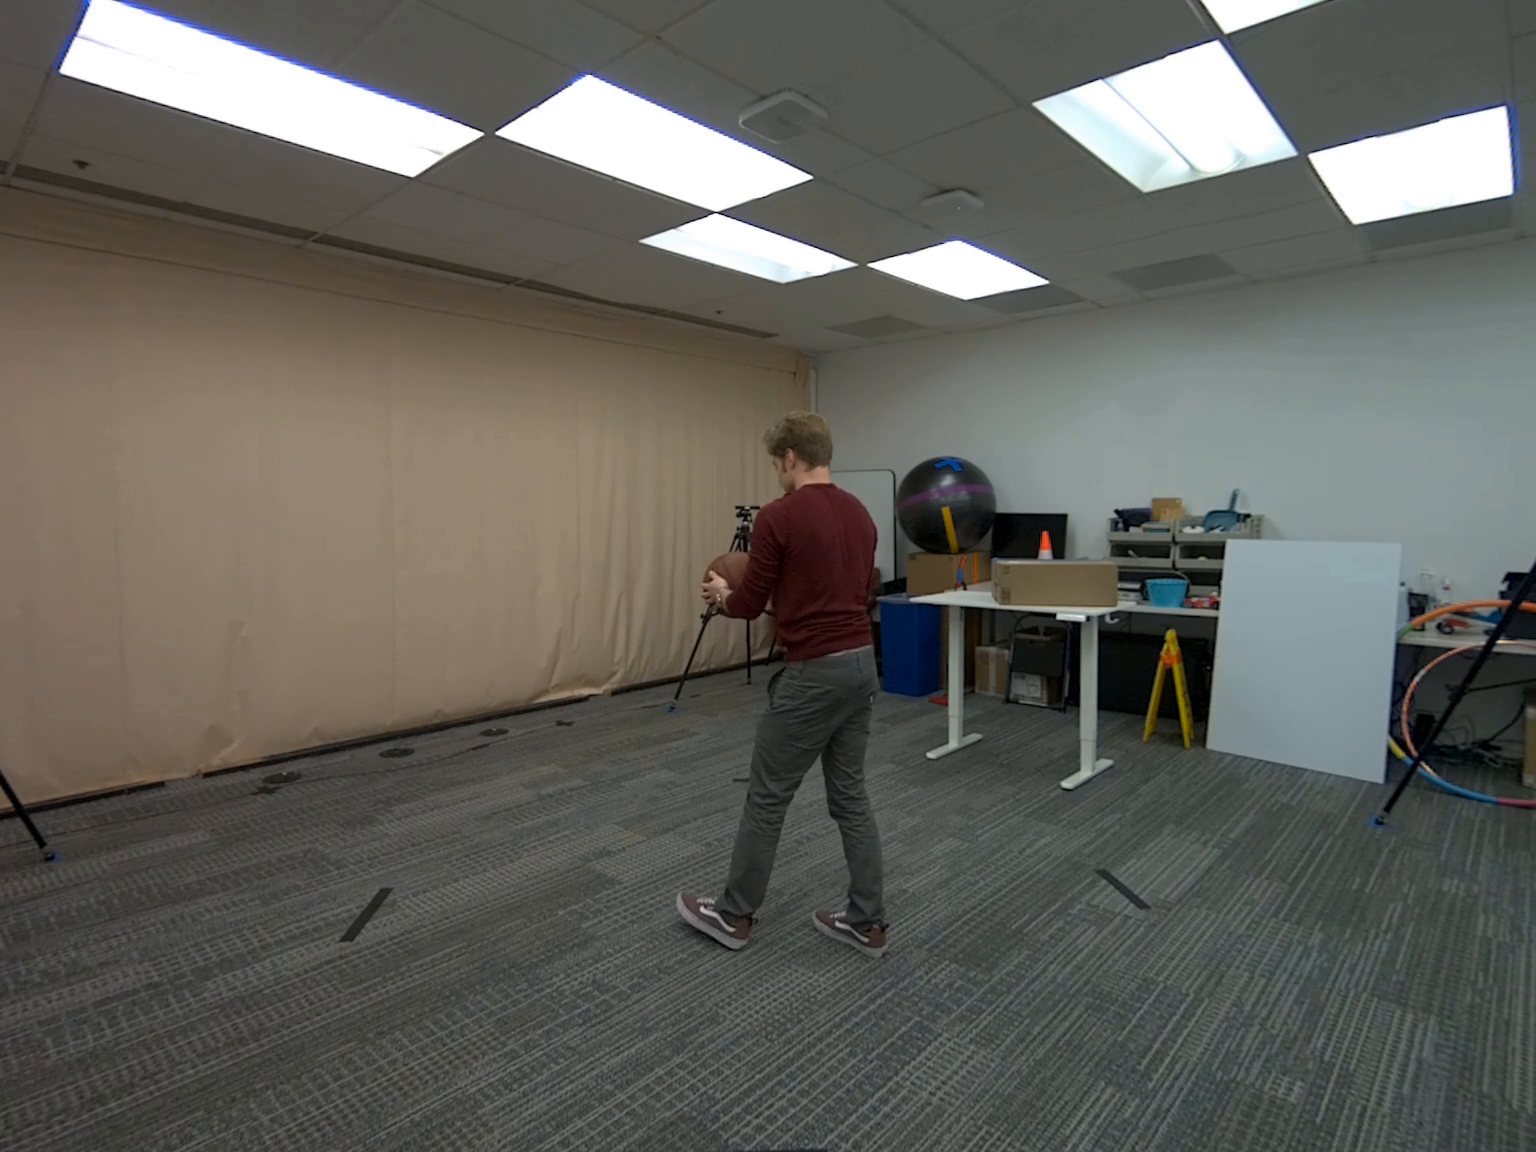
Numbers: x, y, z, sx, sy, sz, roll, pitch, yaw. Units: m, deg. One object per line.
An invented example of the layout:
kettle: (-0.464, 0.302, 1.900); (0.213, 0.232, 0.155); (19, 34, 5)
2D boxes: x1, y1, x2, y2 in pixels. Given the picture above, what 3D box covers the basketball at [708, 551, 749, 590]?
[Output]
basketball: (-0.120, 0.029, 3.008); (0.236, 0.235, 0.237); (0, 4, -2)
